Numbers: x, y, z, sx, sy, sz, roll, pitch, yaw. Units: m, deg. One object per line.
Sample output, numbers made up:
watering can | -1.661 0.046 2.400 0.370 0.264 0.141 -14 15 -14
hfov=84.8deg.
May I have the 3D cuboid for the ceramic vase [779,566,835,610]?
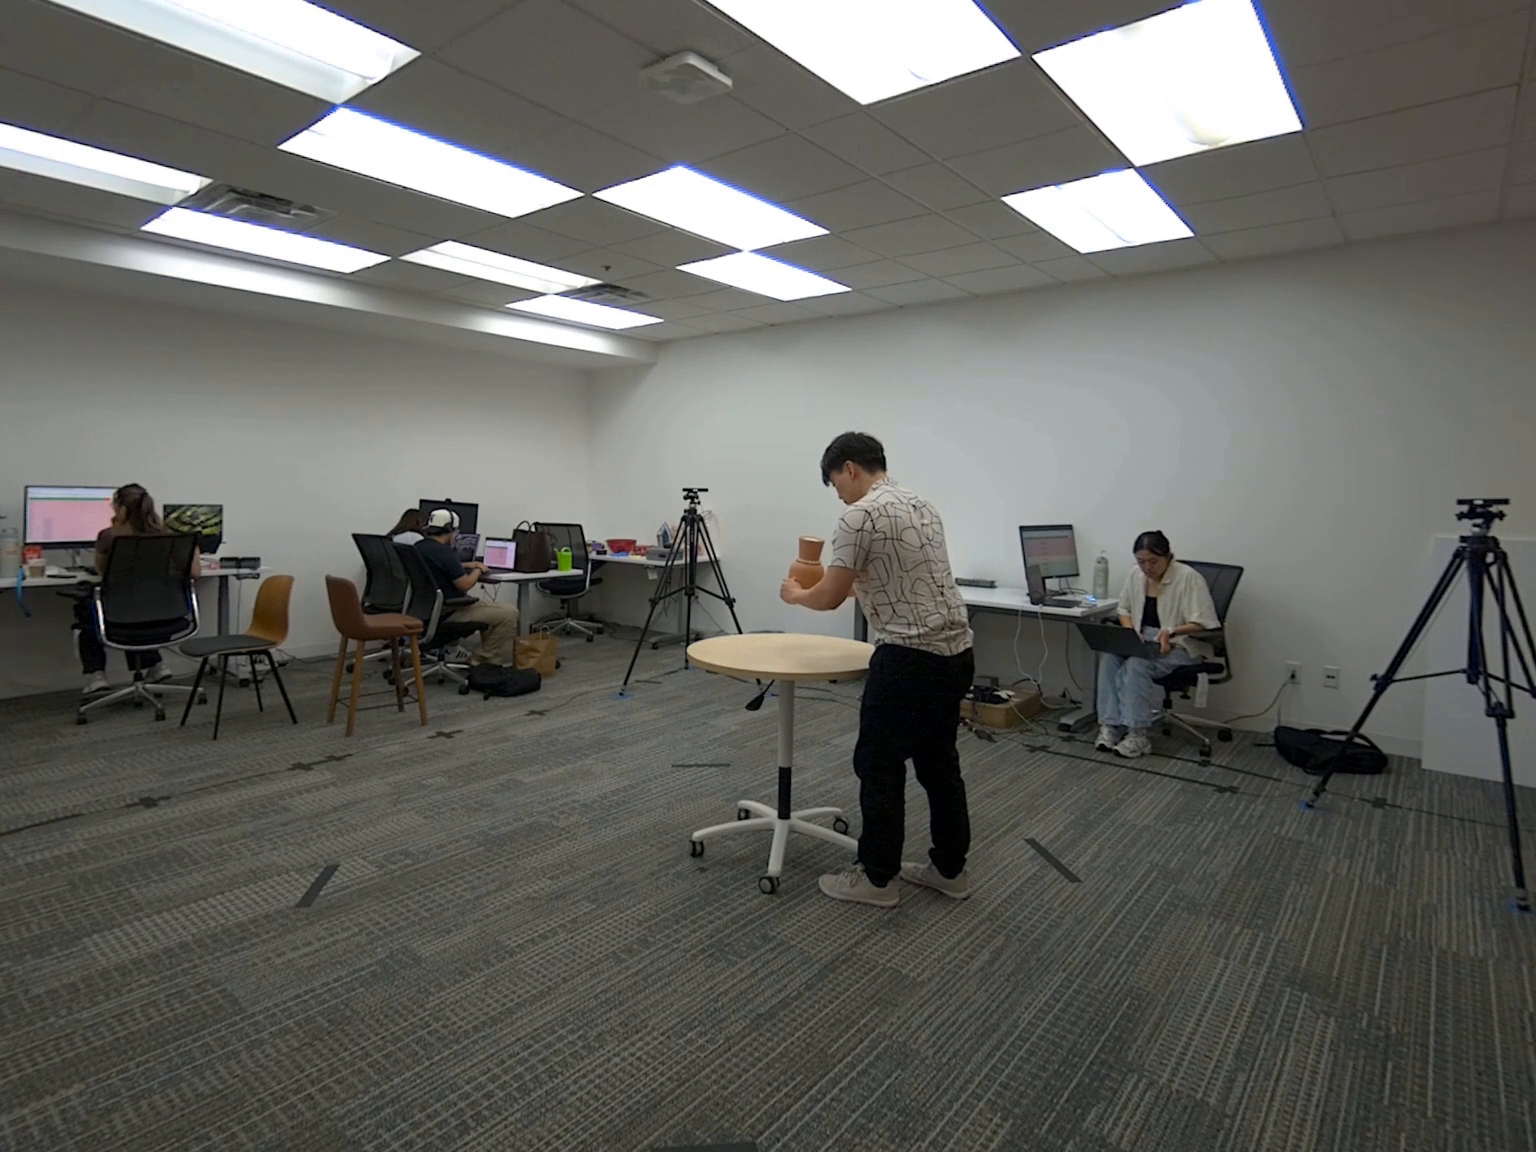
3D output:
ceramic vase | 0.140 -0.035 3.176 0.136 0.218 0.159 6 11 5
